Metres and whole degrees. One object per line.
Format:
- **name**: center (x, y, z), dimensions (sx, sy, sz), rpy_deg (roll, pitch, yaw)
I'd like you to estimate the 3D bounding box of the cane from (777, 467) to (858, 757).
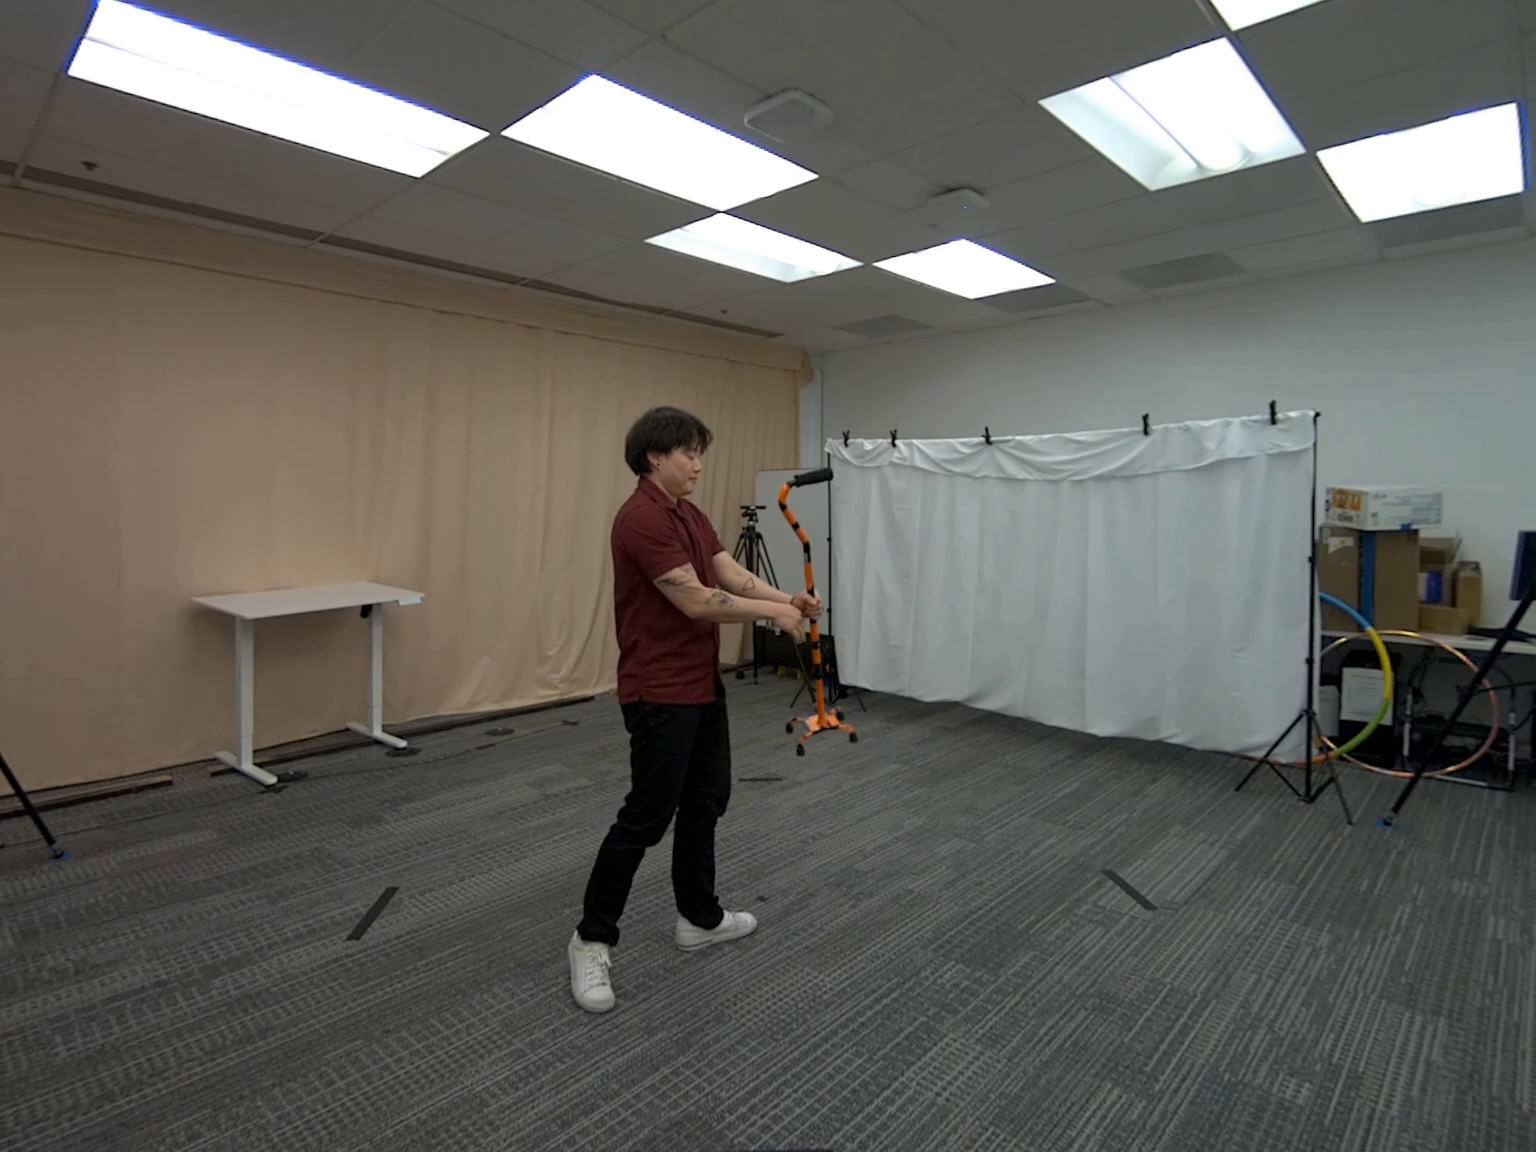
- **cane**: center (0.132, 0.115, 2.534), dimensions (0.204, 0.893, 0.156), rpy_deg (-11, 24, -13)
